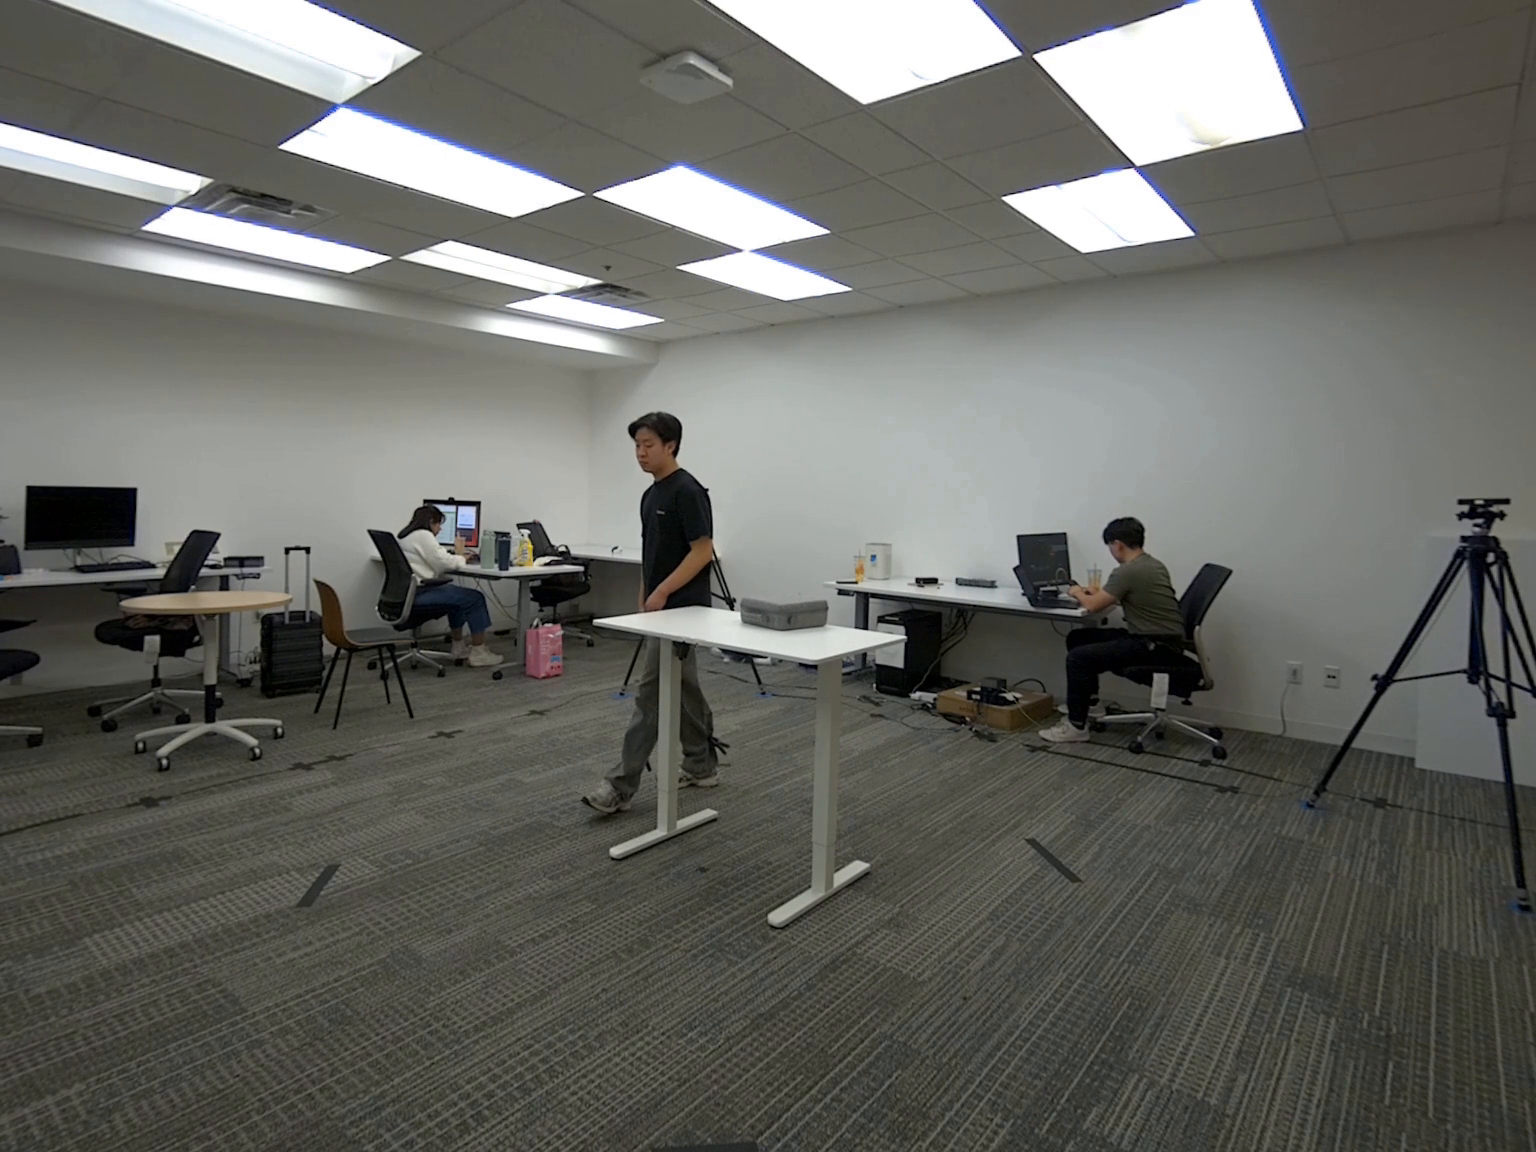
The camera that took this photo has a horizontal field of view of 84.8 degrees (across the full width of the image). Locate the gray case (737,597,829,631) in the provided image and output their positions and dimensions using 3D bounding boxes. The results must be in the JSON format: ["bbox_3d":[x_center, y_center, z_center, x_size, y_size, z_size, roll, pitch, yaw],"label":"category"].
[{"bbox_3d":[0.050,0.128,3.222,0.253,0.104,0.266,-4,8,-38],"label":"gray case"}]
